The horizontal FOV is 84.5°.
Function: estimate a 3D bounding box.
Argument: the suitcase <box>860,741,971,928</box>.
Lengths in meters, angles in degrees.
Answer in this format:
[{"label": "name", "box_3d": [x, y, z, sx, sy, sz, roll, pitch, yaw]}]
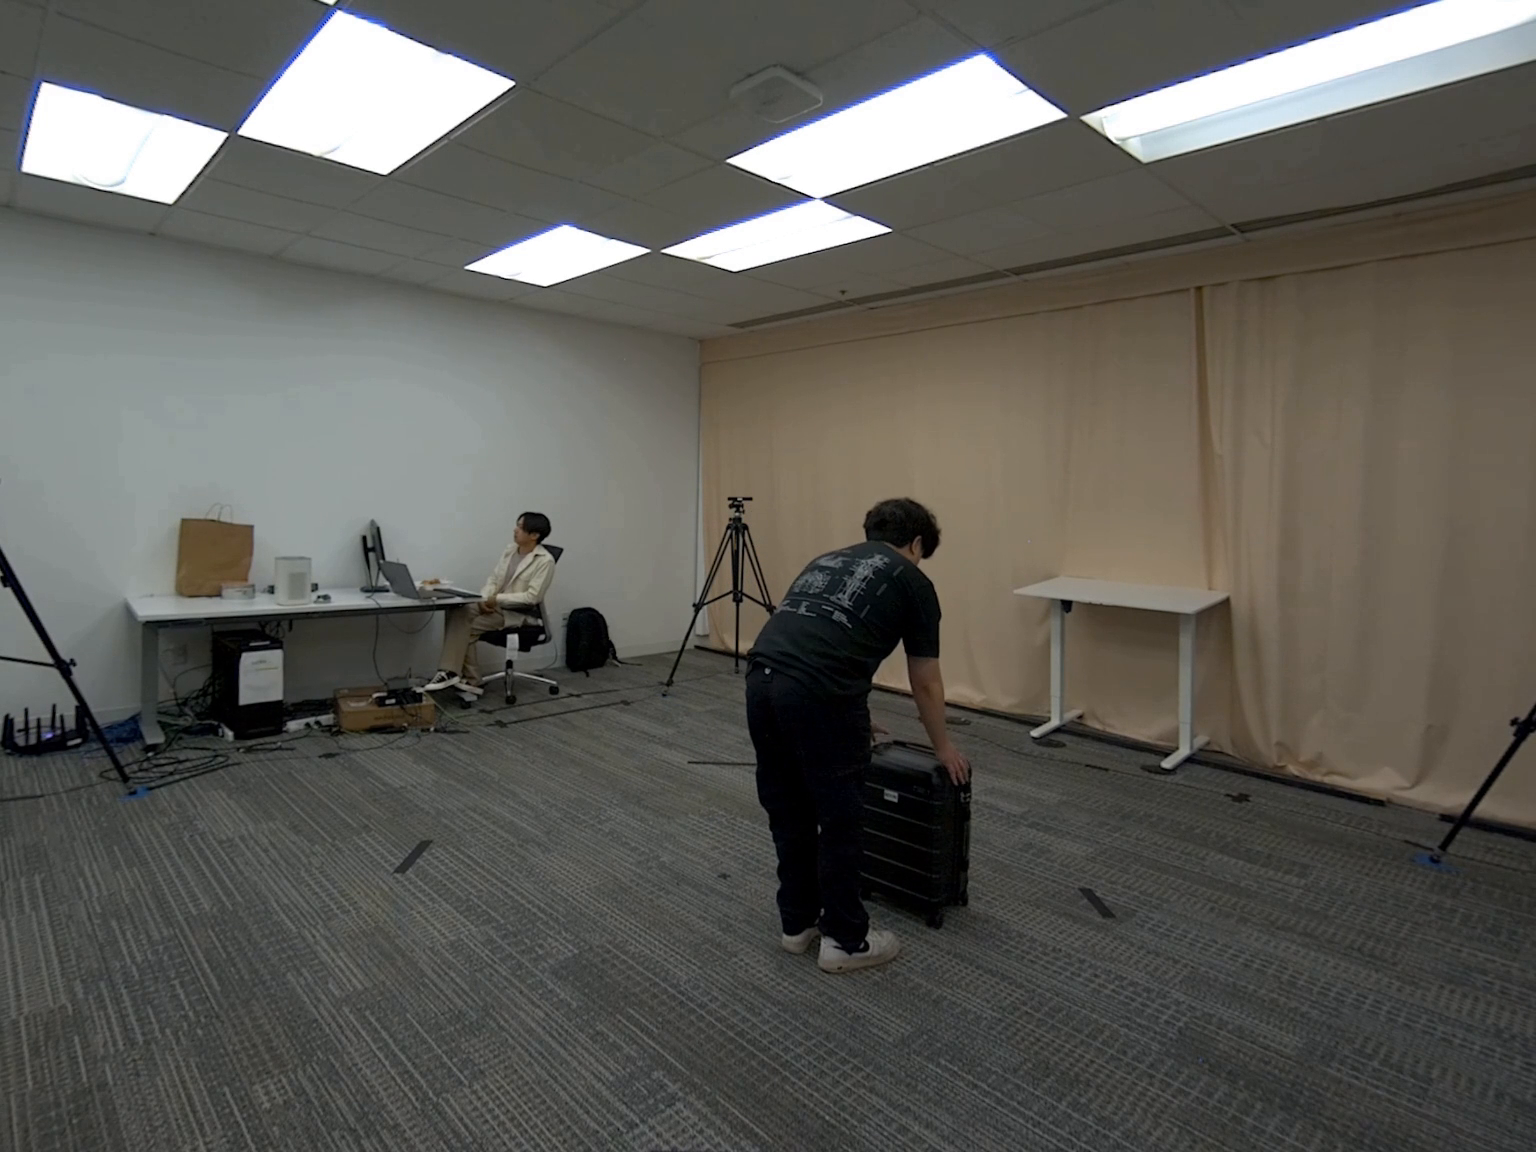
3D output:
[{"label": "suitcase", "box_3d": [0.501, 0.866, 2.915, 0.385, 0.547, 0.243, 6, 7, 41]}]
